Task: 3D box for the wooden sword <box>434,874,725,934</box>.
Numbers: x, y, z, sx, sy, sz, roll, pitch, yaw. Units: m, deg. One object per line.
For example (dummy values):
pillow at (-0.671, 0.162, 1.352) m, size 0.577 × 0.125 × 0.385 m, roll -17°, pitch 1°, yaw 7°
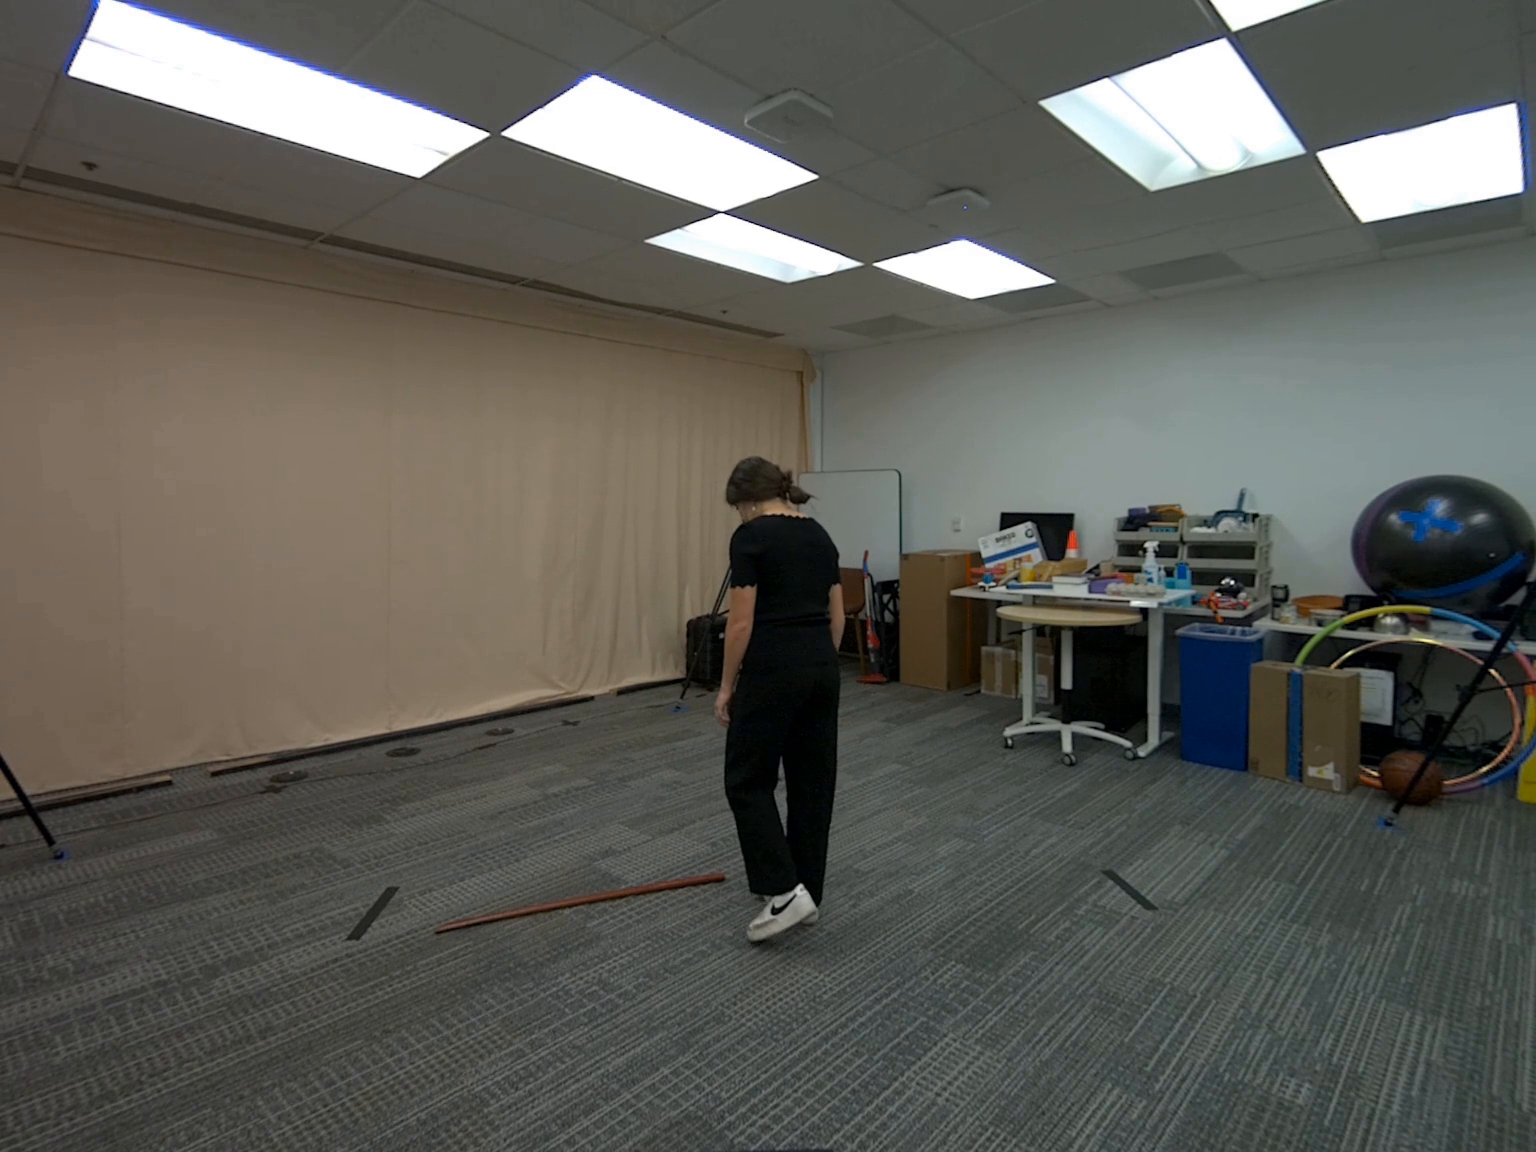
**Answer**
wooden sword at (-0.634, 1.140, 2.959) m, size 1.003 × 0.051 × 0.025 m, roll -2°, pitch 18°, yaw -21°
